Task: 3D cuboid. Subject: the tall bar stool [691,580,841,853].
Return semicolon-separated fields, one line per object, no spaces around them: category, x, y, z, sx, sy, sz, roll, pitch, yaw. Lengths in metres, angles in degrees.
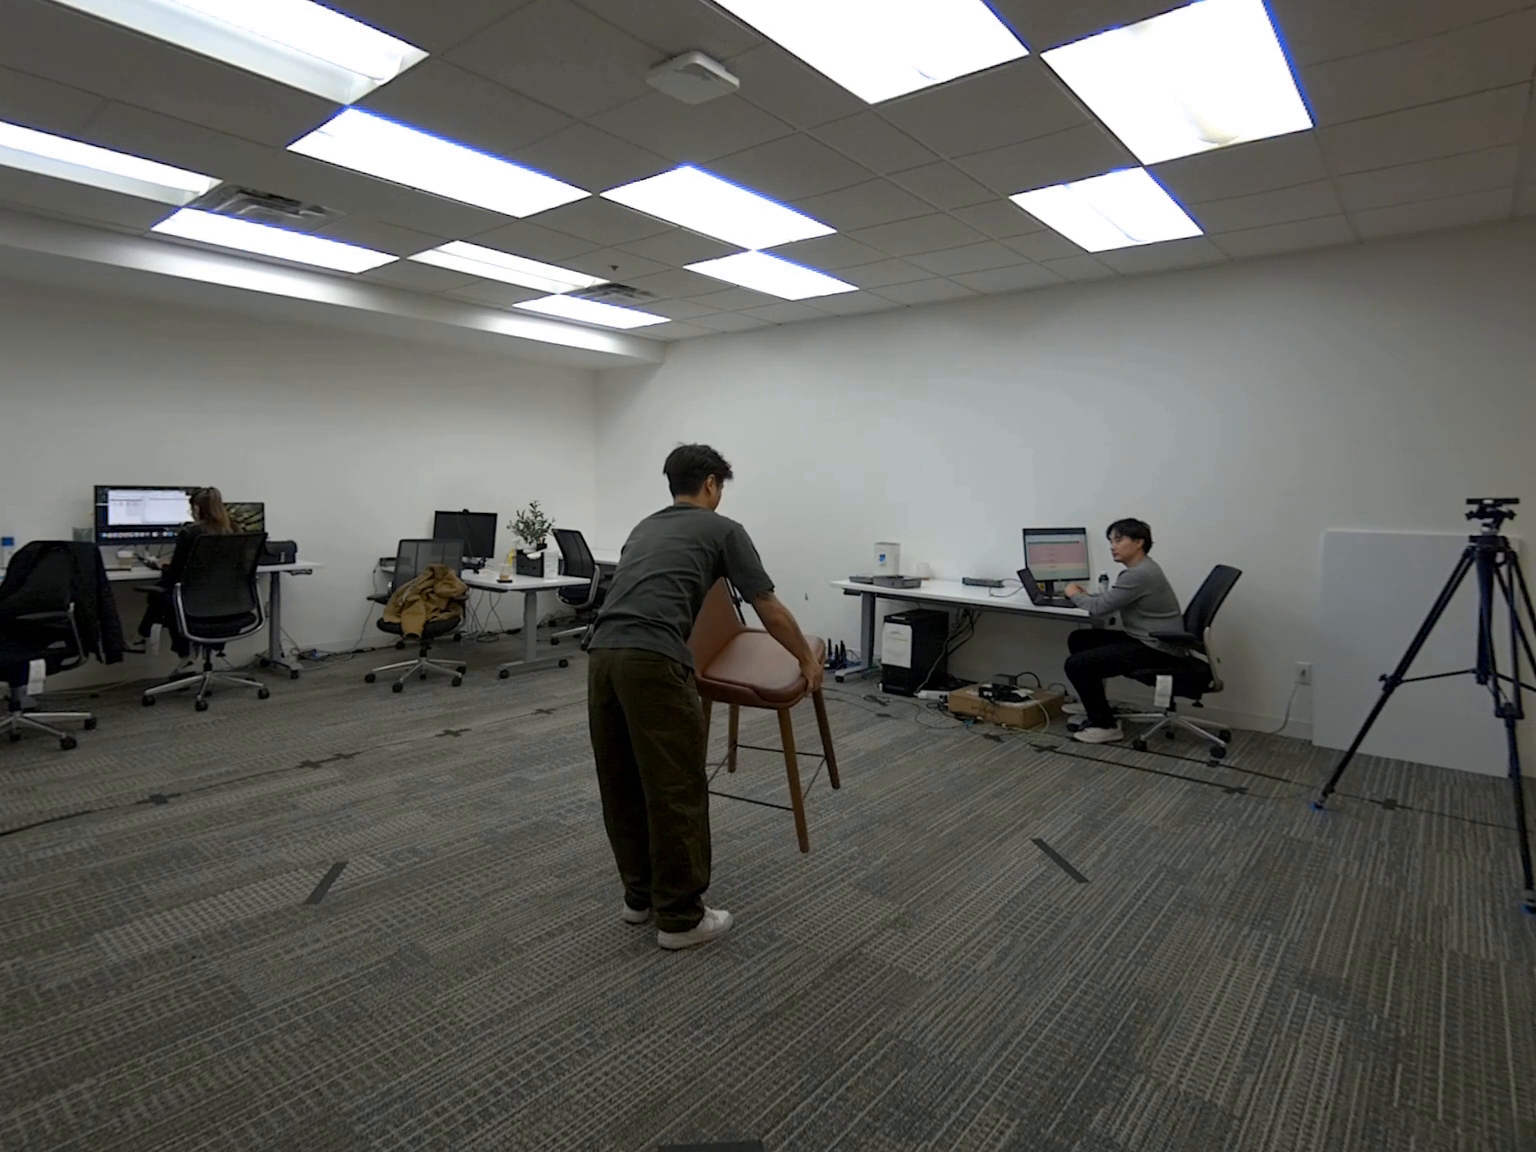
tall bar stool;-0.043;0.446;3.014;0.479;0.874;0.453;2;19;23
